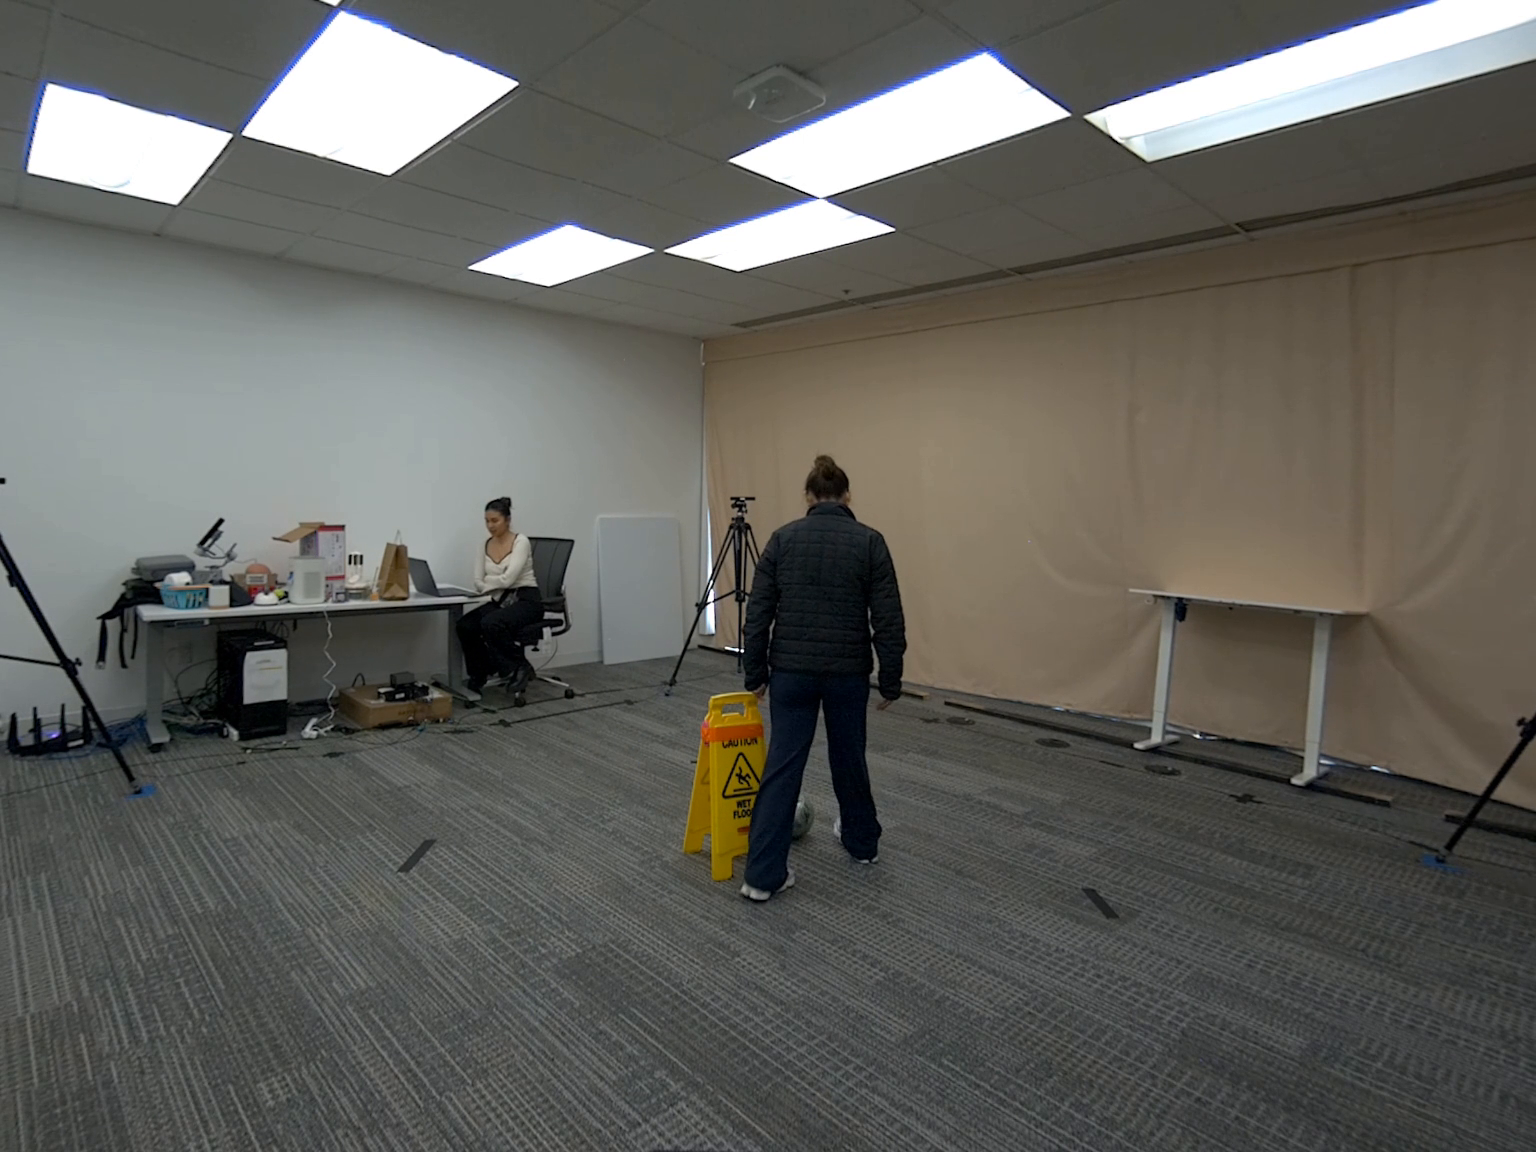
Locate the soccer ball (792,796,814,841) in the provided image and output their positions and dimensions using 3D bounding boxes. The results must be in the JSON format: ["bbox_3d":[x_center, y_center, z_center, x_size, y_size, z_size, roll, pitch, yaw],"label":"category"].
[{"bbox_3d":[0.091,0.992,3.472,0.187,0.187,0.188,1,4,-1],"label":"soccer ball"}]
